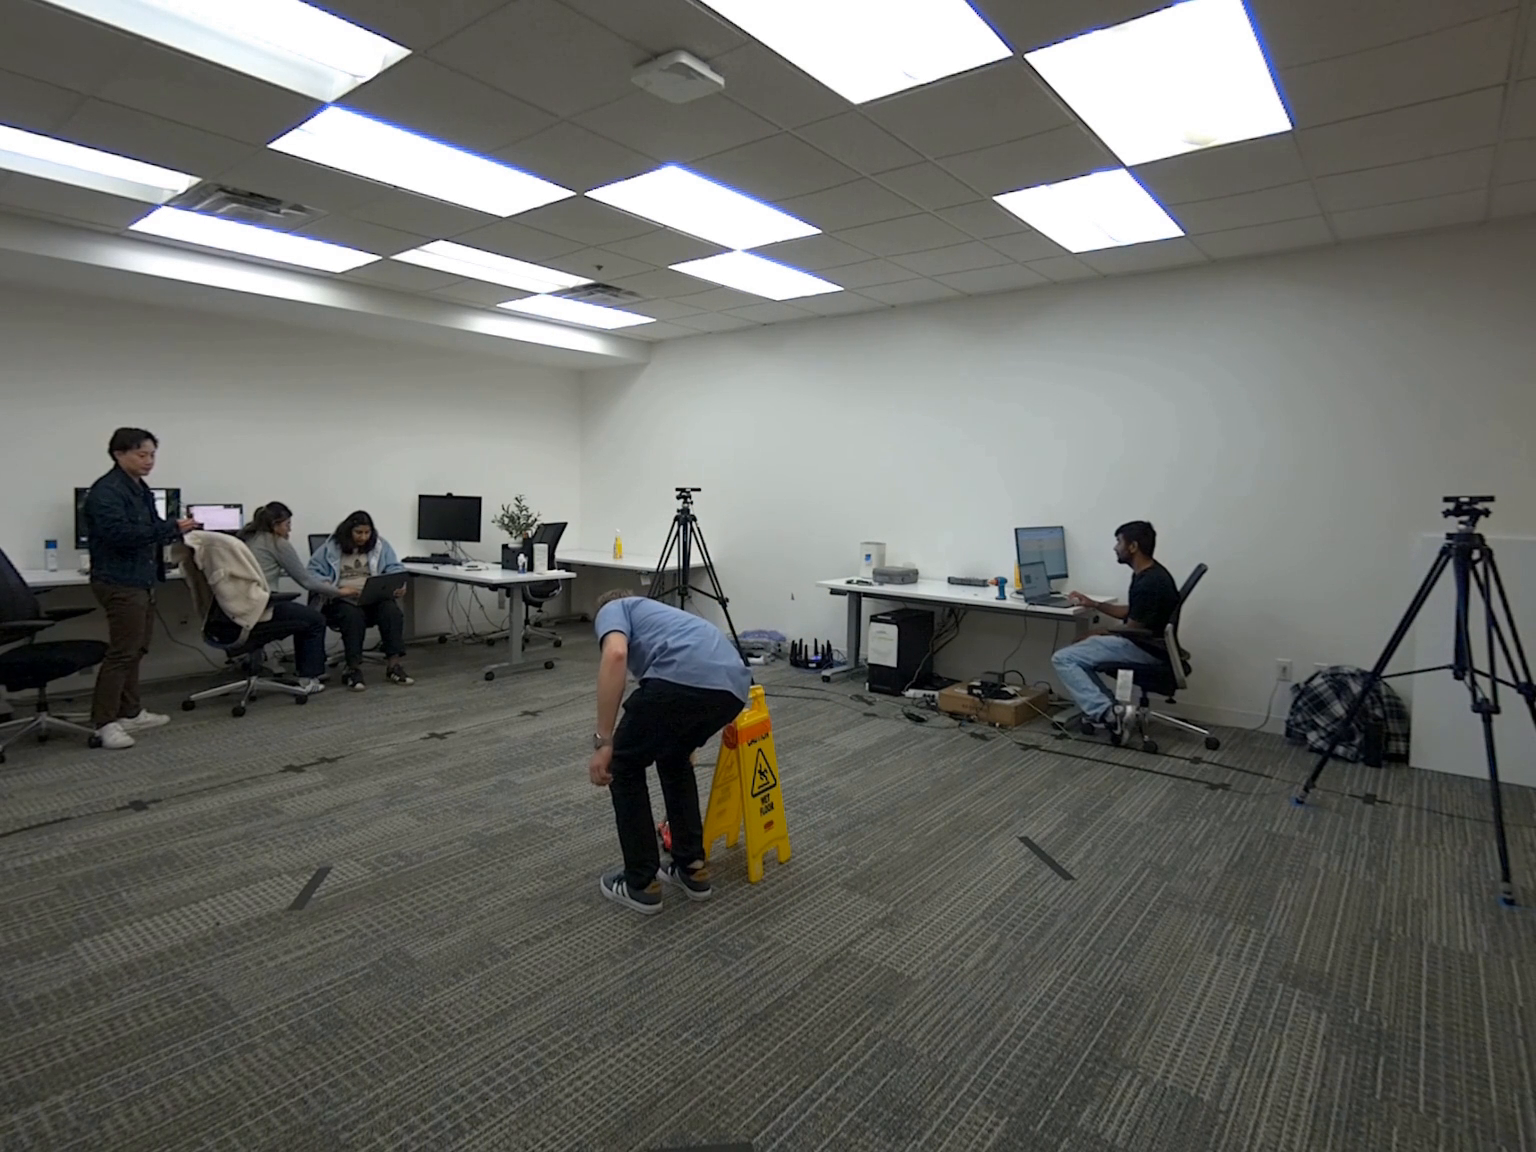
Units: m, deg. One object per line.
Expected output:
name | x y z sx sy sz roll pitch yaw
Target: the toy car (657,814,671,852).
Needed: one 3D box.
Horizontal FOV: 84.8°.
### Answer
toy car | -0.363 1.010 3.323 0.129 0.084 0.256 0 -4 -12
